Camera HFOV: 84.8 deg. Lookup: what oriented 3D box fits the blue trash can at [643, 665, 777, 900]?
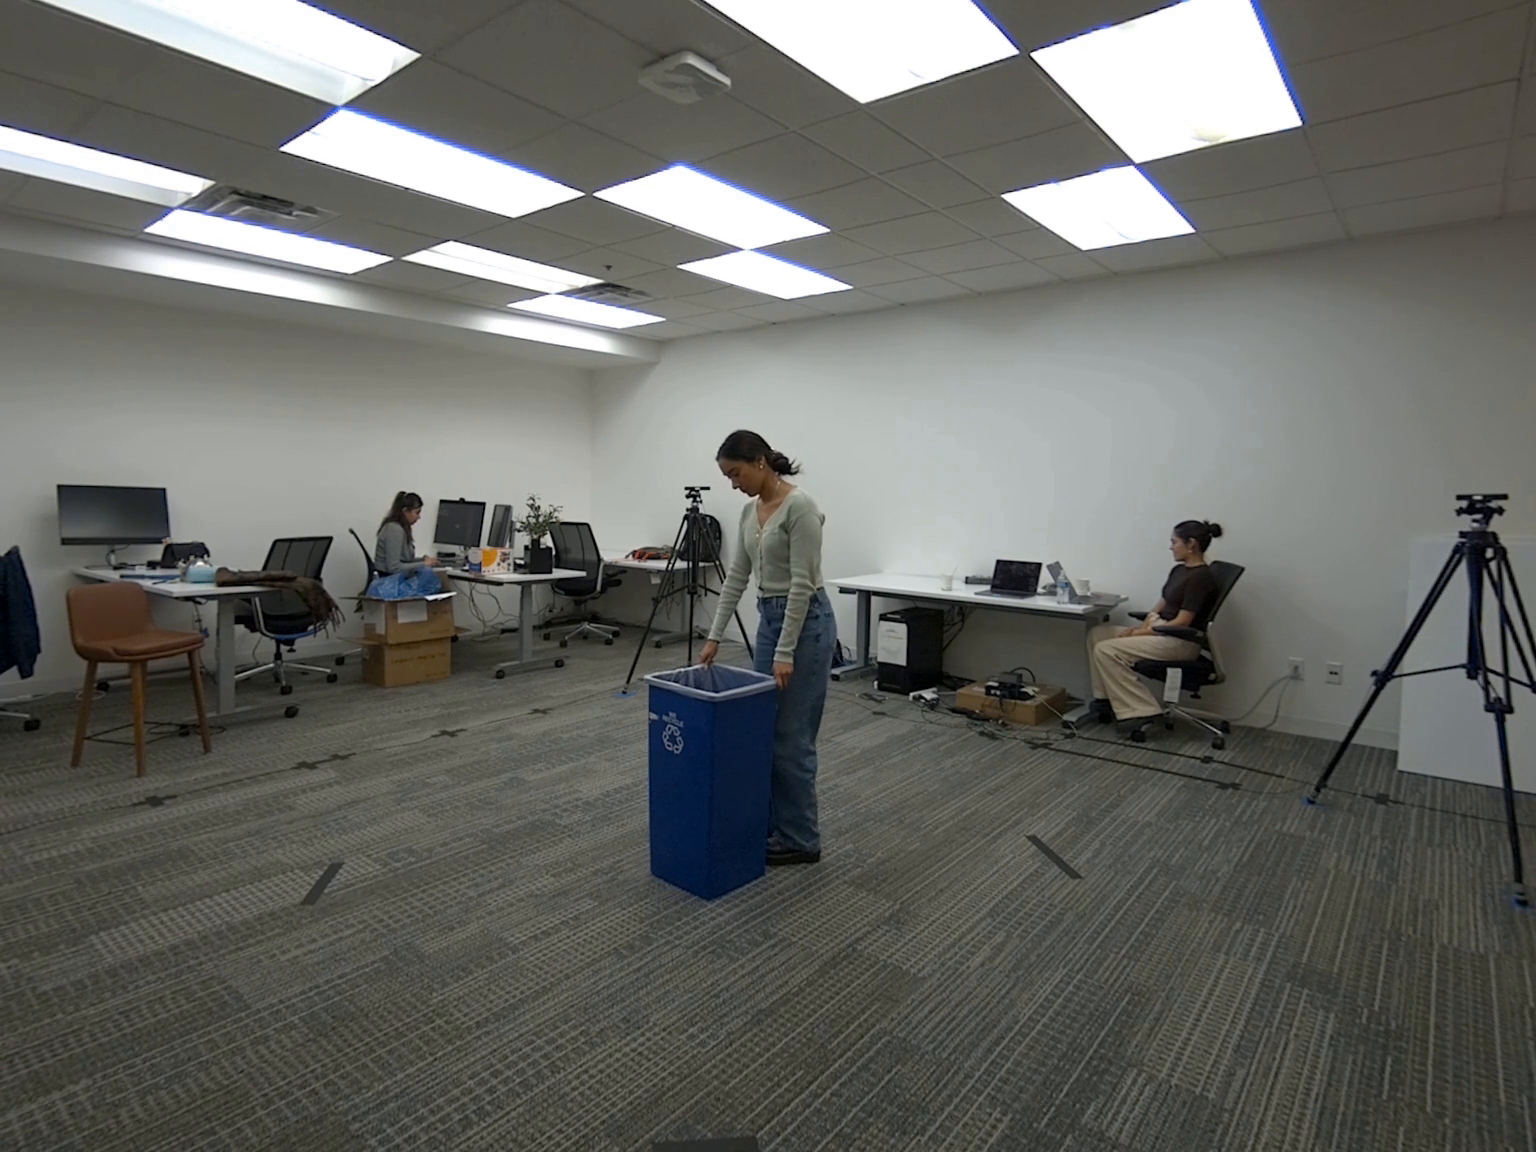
[{"bbox_3d":[-0.209,0.712,3.039,0.387,0.712,0.366,4,4,43],"label":"blue trash can"}]
